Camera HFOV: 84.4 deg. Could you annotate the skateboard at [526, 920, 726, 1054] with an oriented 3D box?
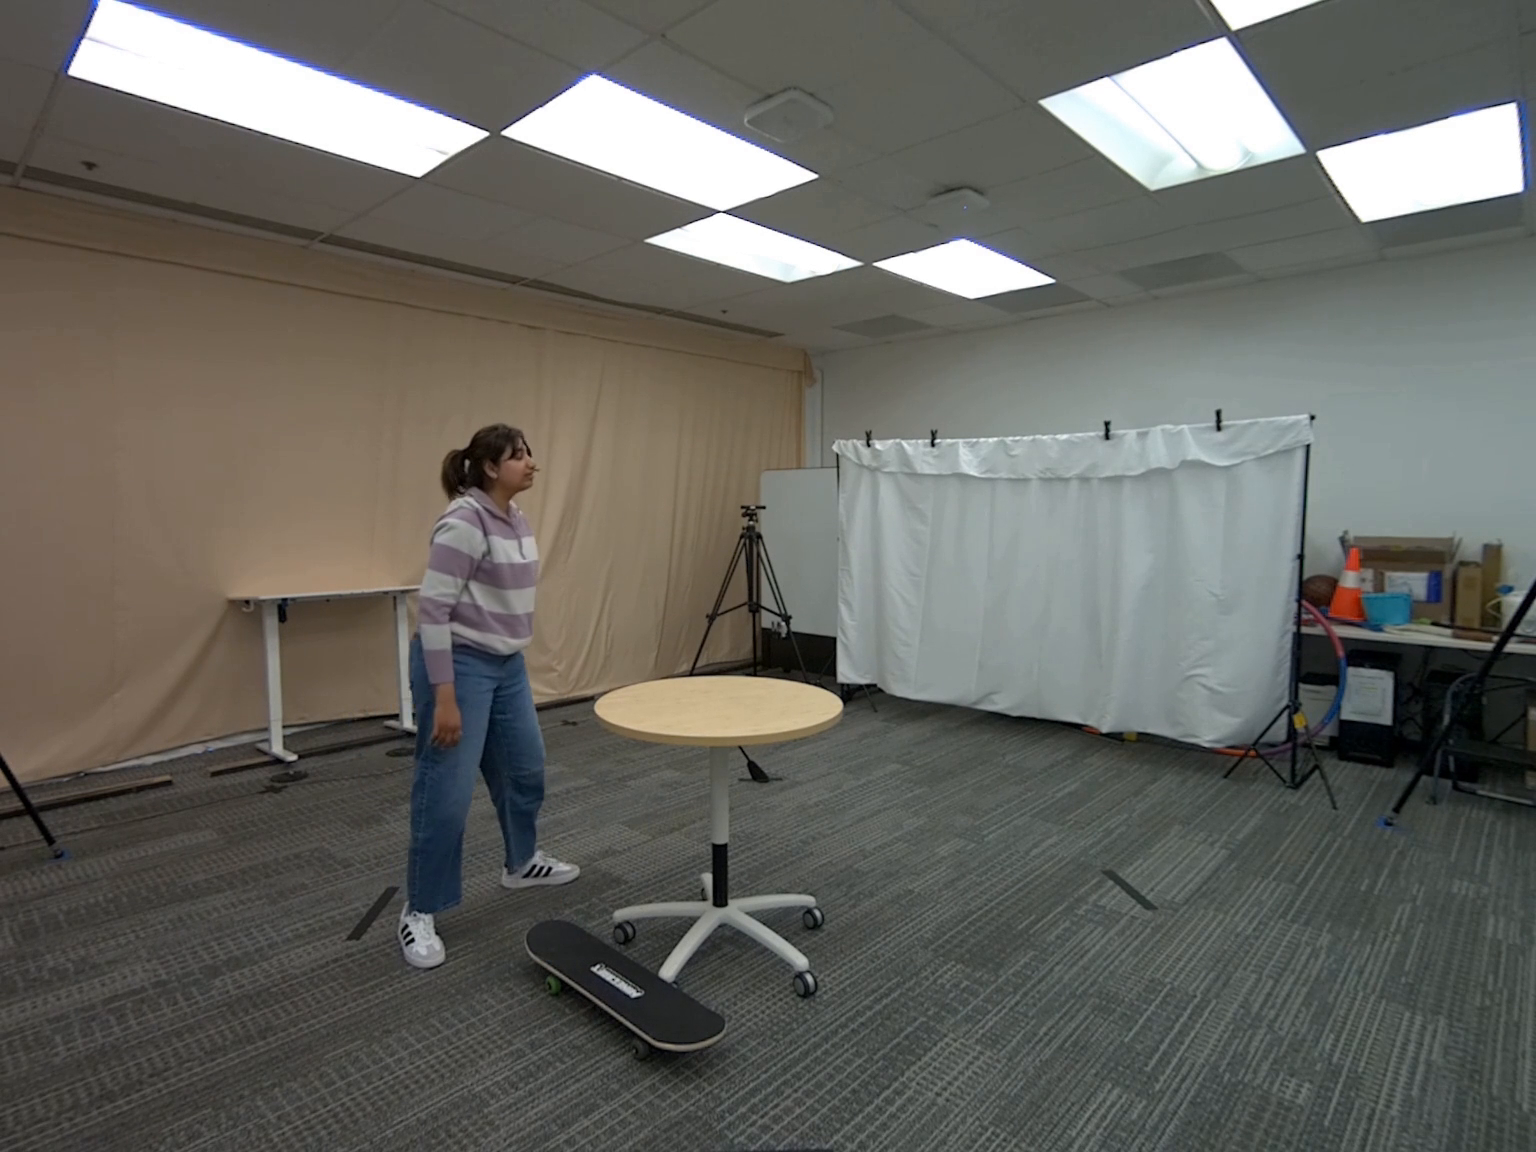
[{"bbox_3d":[-0.412,1.144,2.317,0.812,0.110,0.187,4,6,44],"label":"skateboard"}]
